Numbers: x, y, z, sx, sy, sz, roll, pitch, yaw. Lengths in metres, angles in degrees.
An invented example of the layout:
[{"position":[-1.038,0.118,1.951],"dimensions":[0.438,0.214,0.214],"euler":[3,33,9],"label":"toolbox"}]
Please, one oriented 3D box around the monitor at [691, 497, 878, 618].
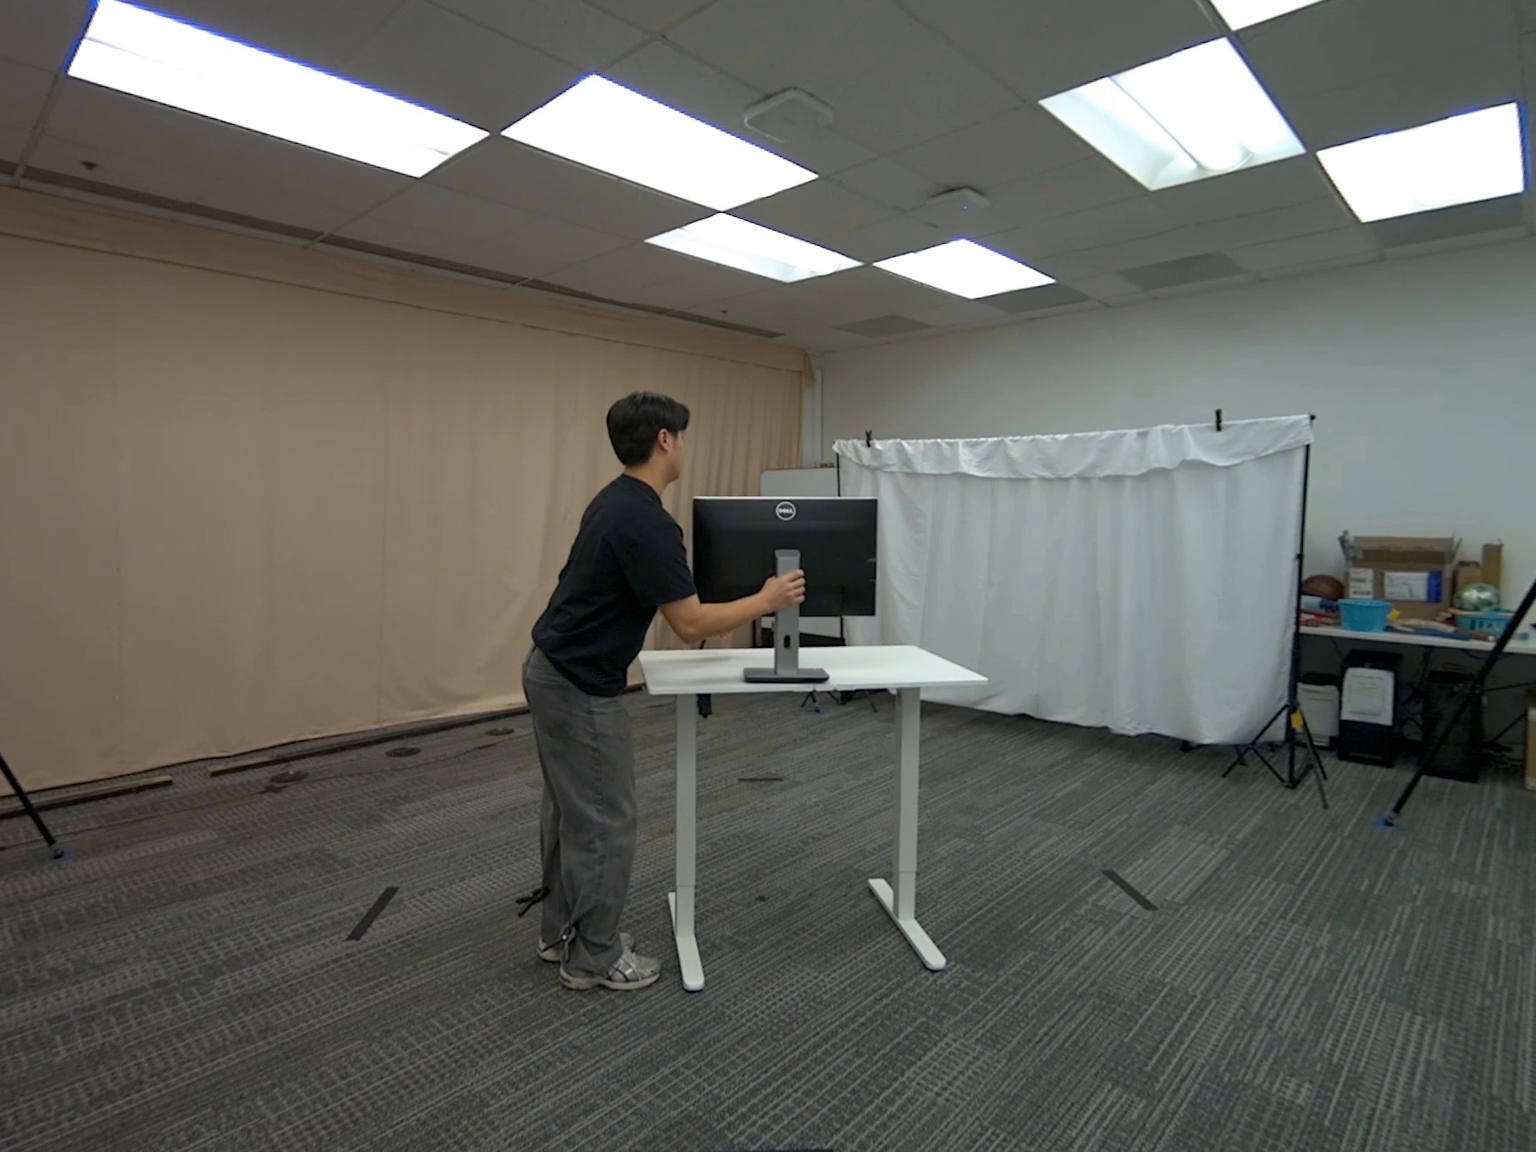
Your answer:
[{"position":[0.054,0.042,2.493],"dimensions":[0.563,0.568,0.221],"euler":[1,-7,2],"label":"monitor"}]
